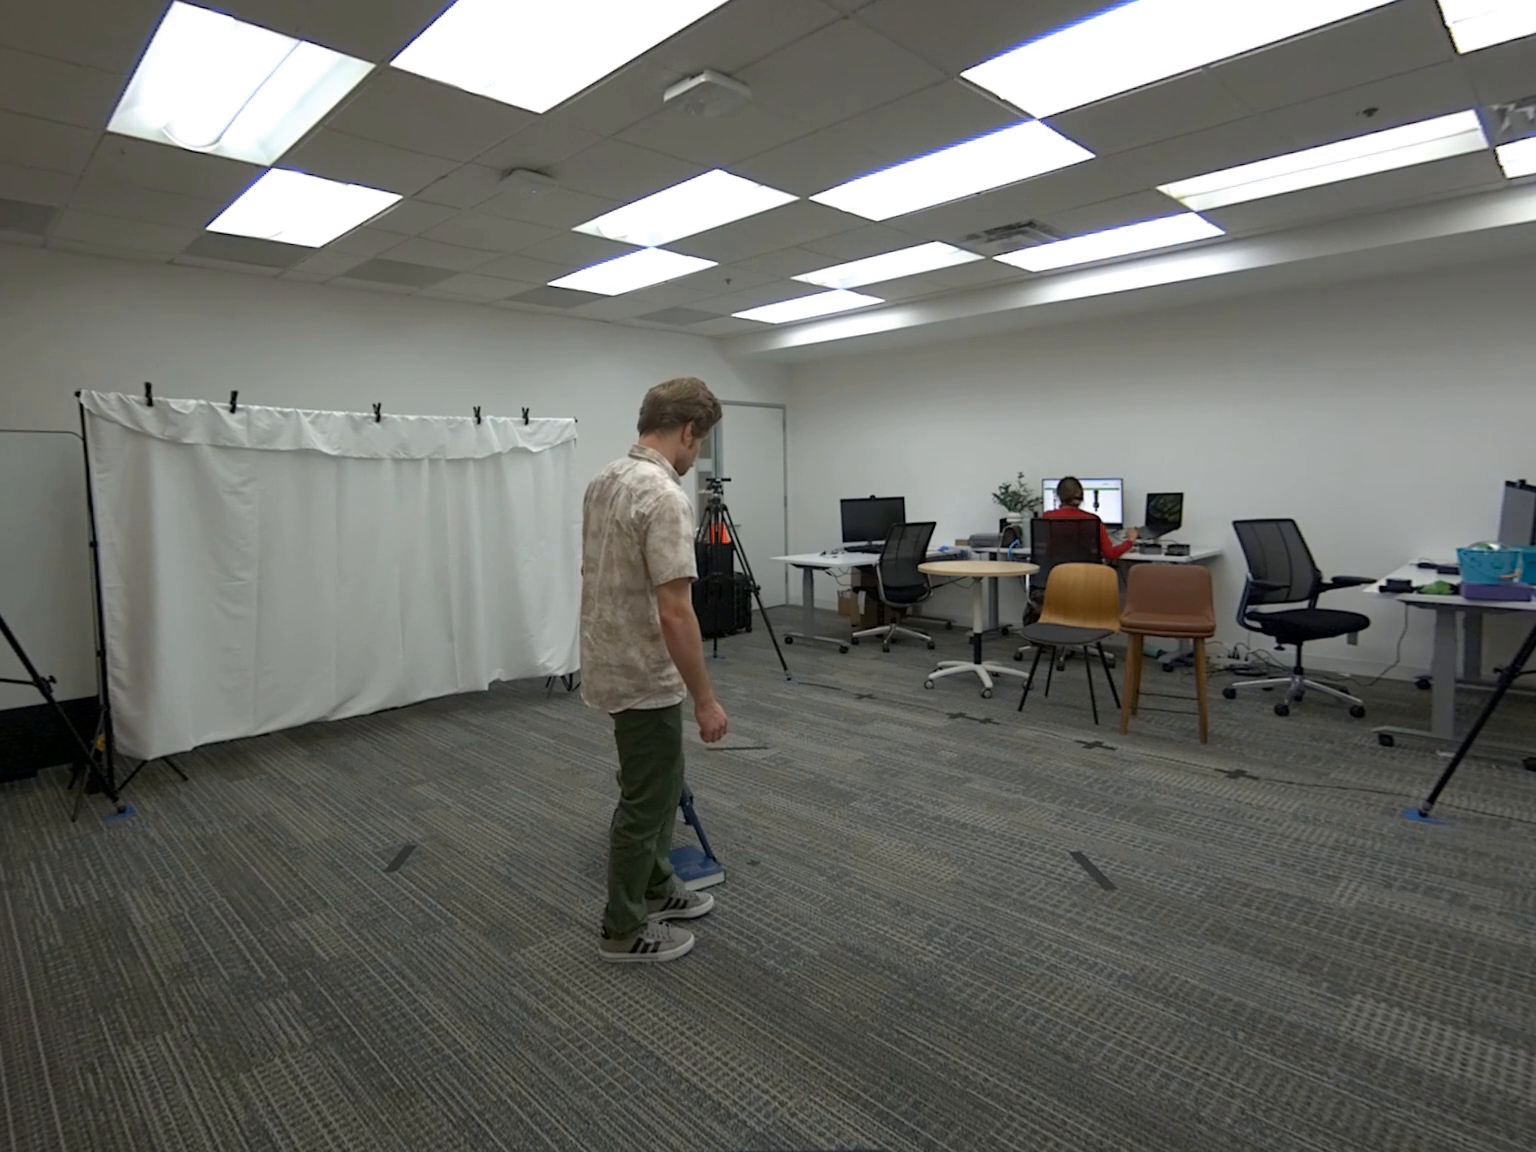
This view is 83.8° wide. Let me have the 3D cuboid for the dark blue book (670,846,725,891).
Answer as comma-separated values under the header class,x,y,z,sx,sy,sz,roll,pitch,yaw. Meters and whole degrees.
class,x,y,z,sx,sy,sz,roll,pitch,yaw
dark blue book,-0.278,1.036,3.016,0.159,0.045,0.252,-5,8,-32
